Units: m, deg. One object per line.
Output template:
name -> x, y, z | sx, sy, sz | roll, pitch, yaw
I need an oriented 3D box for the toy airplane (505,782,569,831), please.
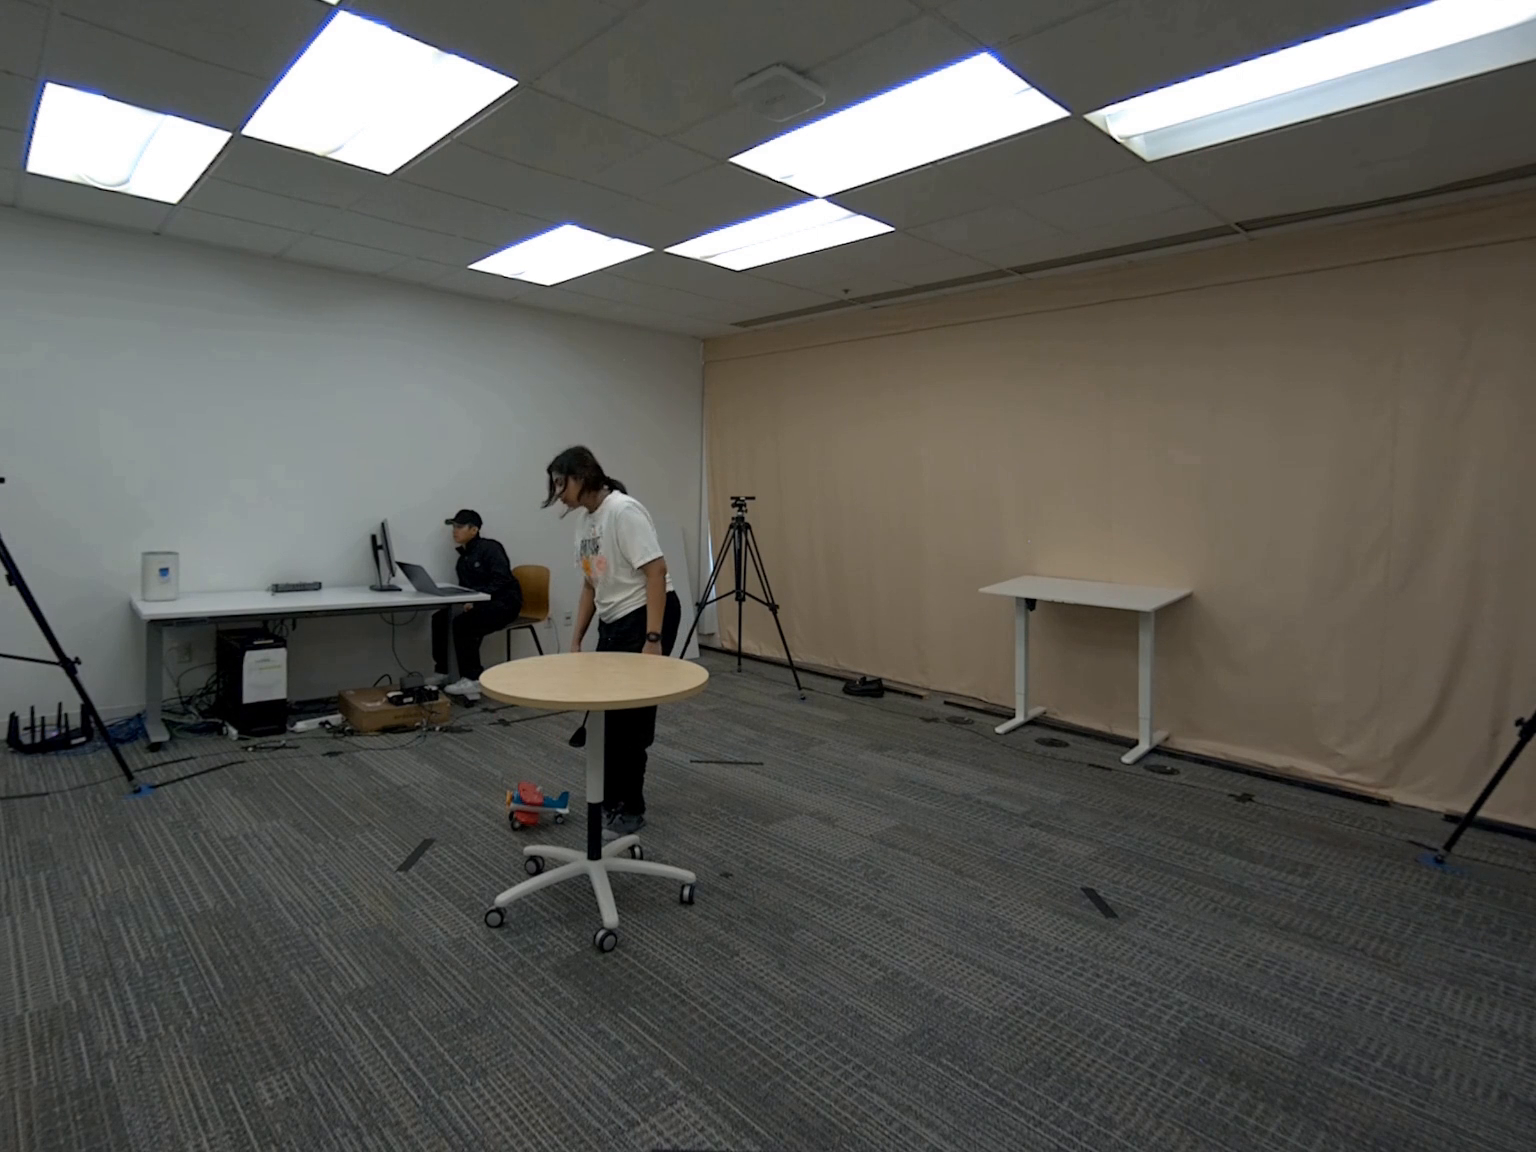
toy airplane -> -0.997, 0.972, 3.559 | 0.257, 0.156, 0.253 | 5, 6, 41
